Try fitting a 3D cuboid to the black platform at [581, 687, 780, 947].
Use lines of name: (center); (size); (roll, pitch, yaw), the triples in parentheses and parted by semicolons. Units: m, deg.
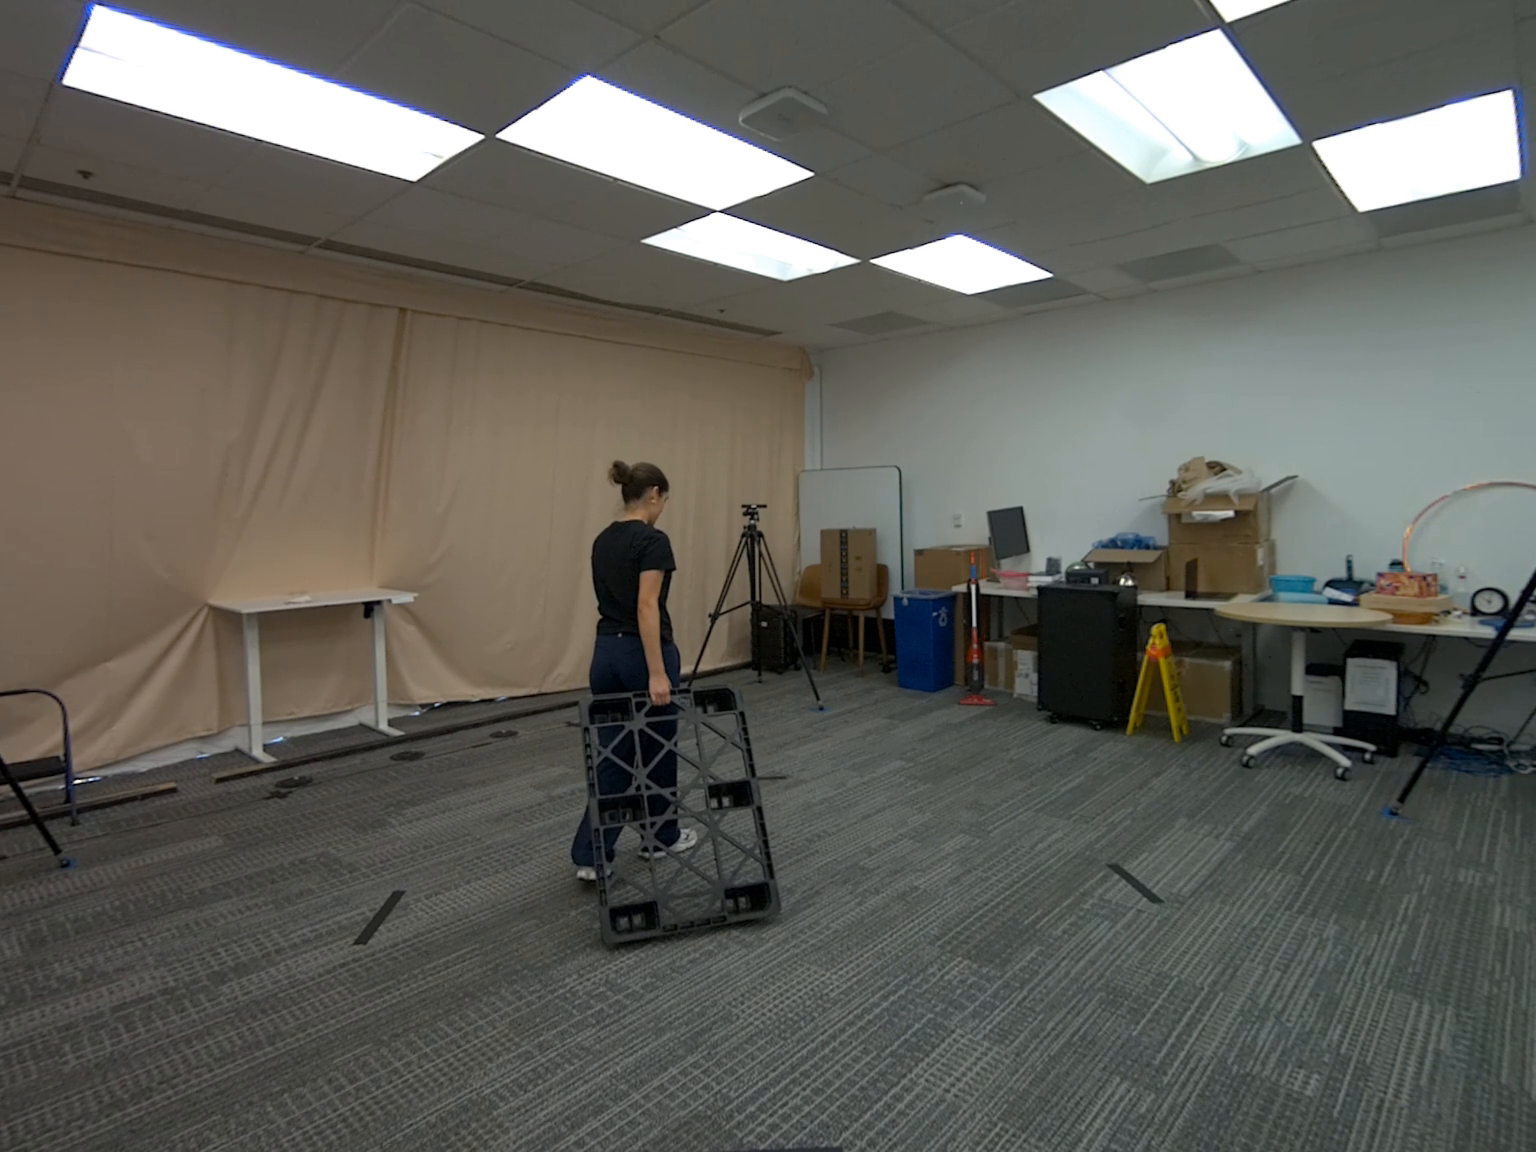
black platform: (-0.301, 0.798, 2.923); (0.594, 0.820, 0.143); (-2, -26, -18)
